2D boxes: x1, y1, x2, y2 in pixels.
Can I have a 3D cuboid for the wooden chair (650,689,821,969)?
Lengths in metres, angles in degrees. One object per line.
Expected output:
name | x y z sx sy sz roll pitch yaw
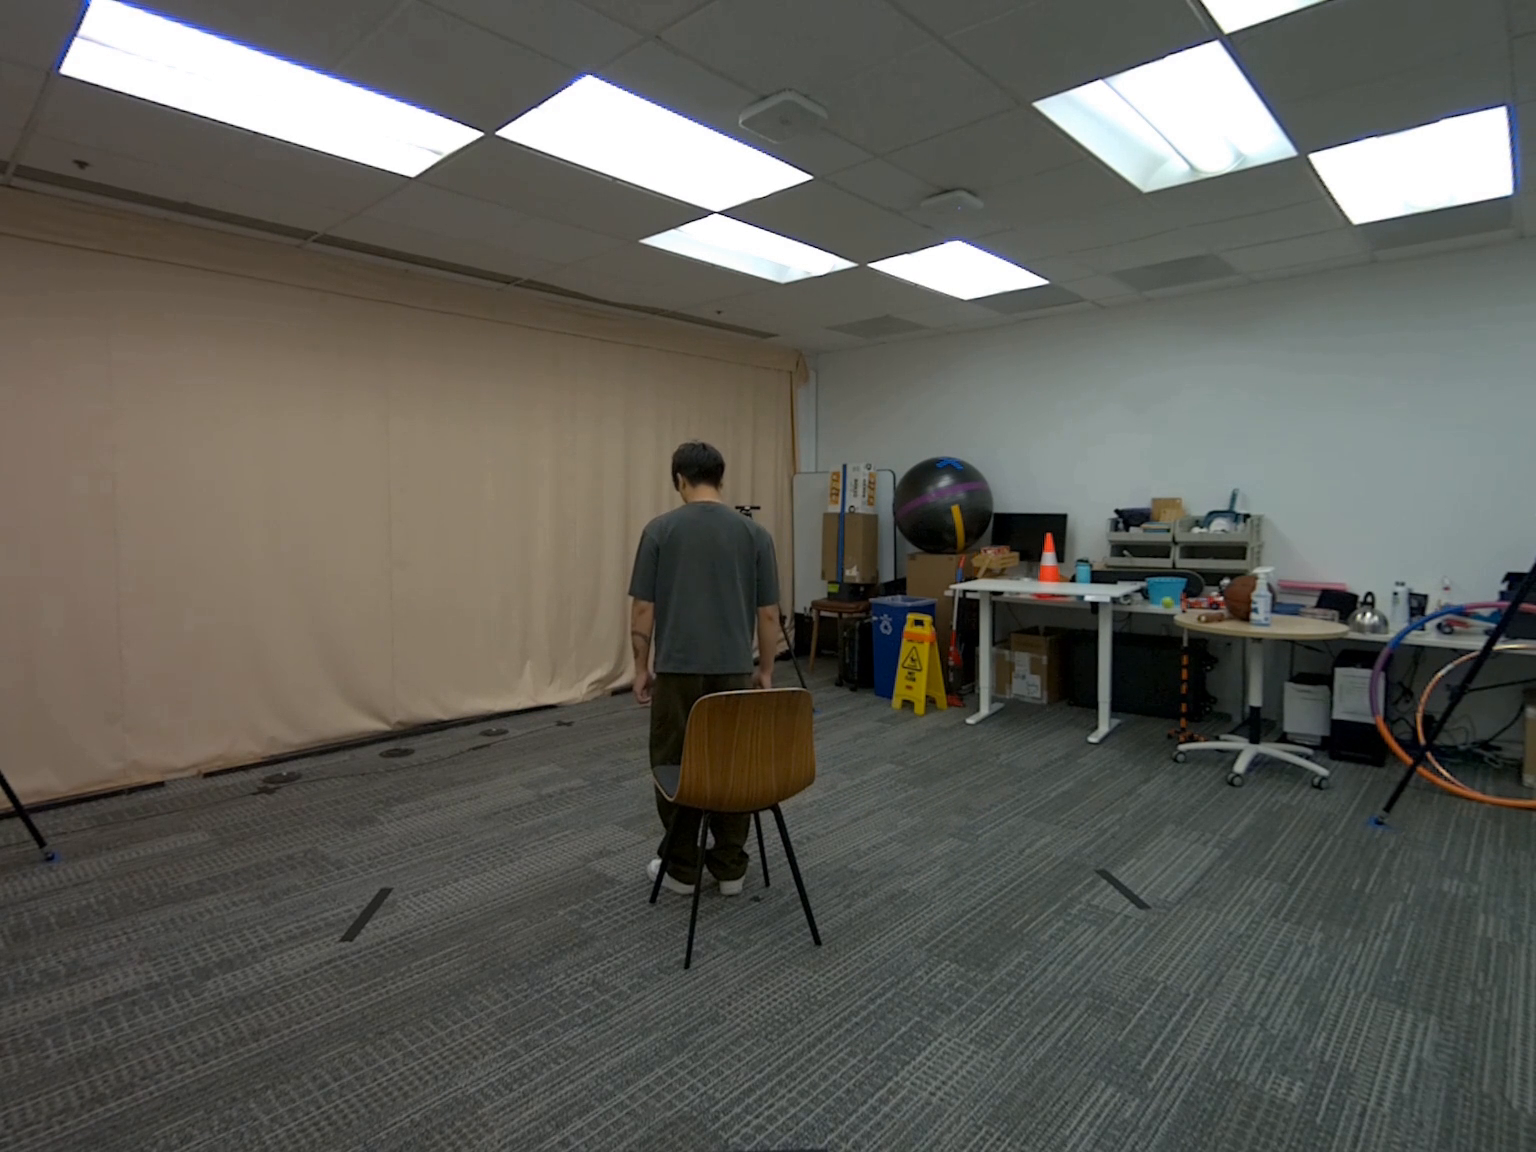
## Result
wooden chair | -0.120 0.731 2.786 0.469 0.873 0.536 -2 7 -20
